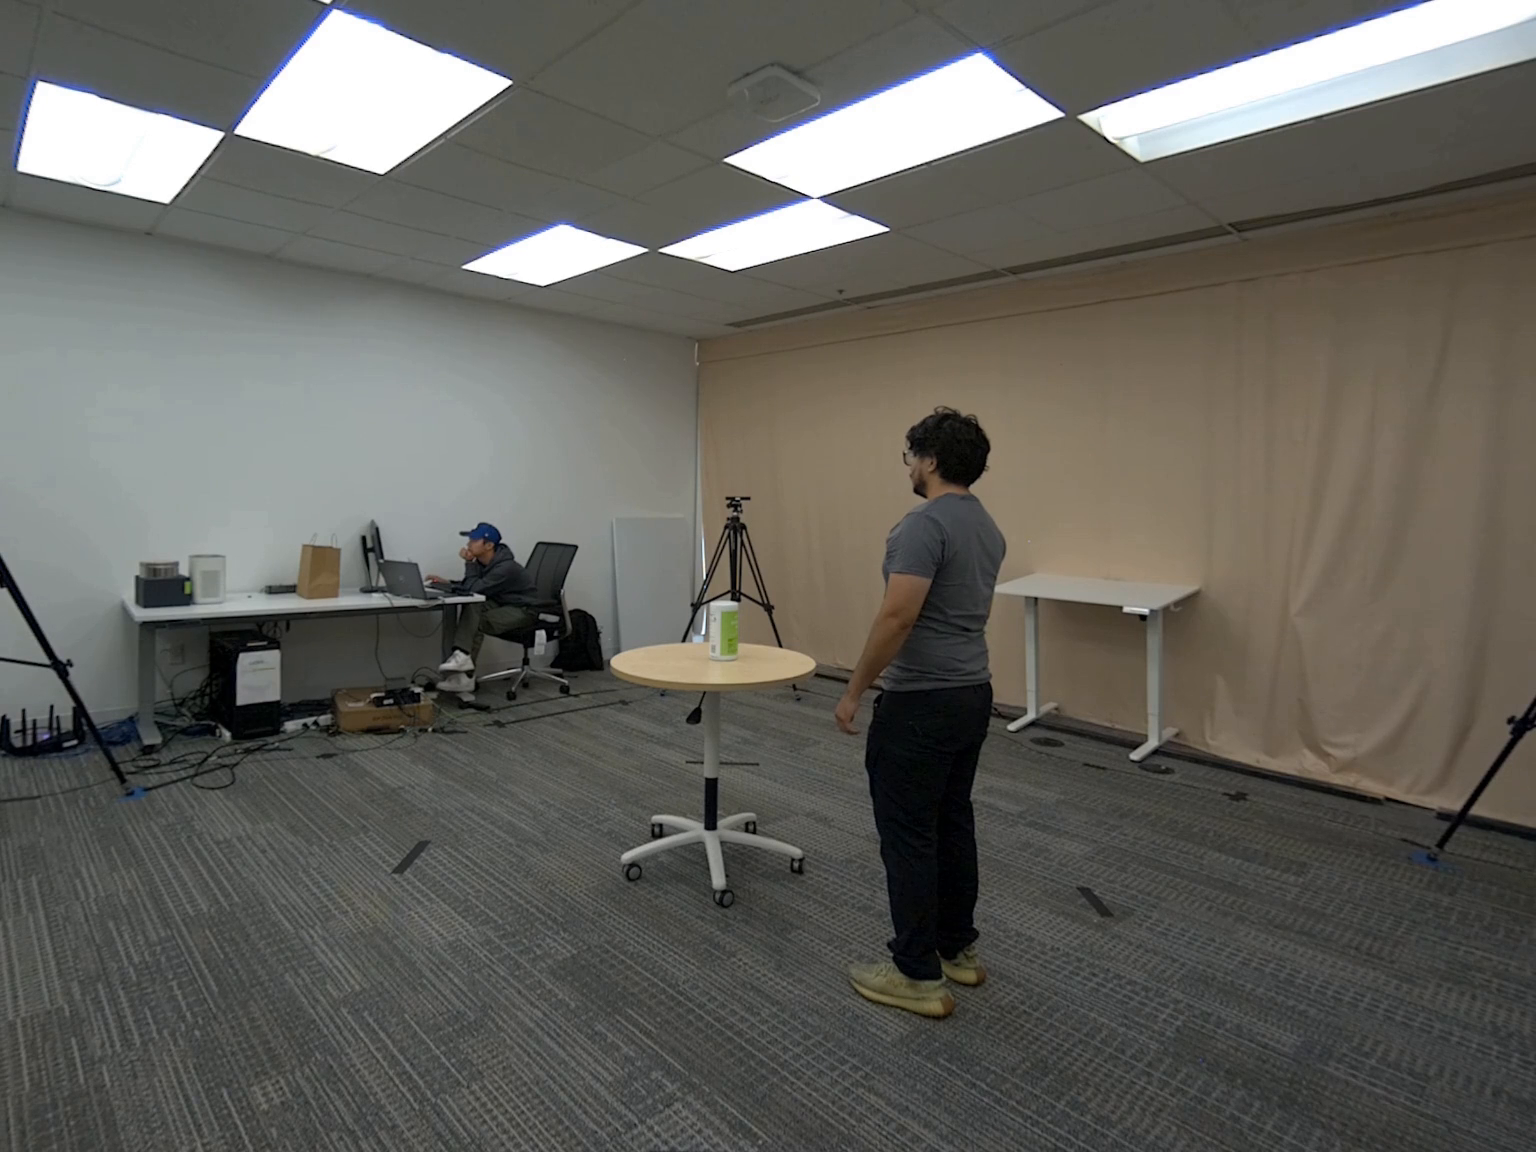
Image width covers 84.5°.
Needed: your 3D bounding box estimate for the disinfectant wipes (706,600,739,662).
[{"bbox_3d":[-0.178,0.207,3.188,0.118,0.217,0.118,2,4,-2],"label":"disinfectant wipes"}]
